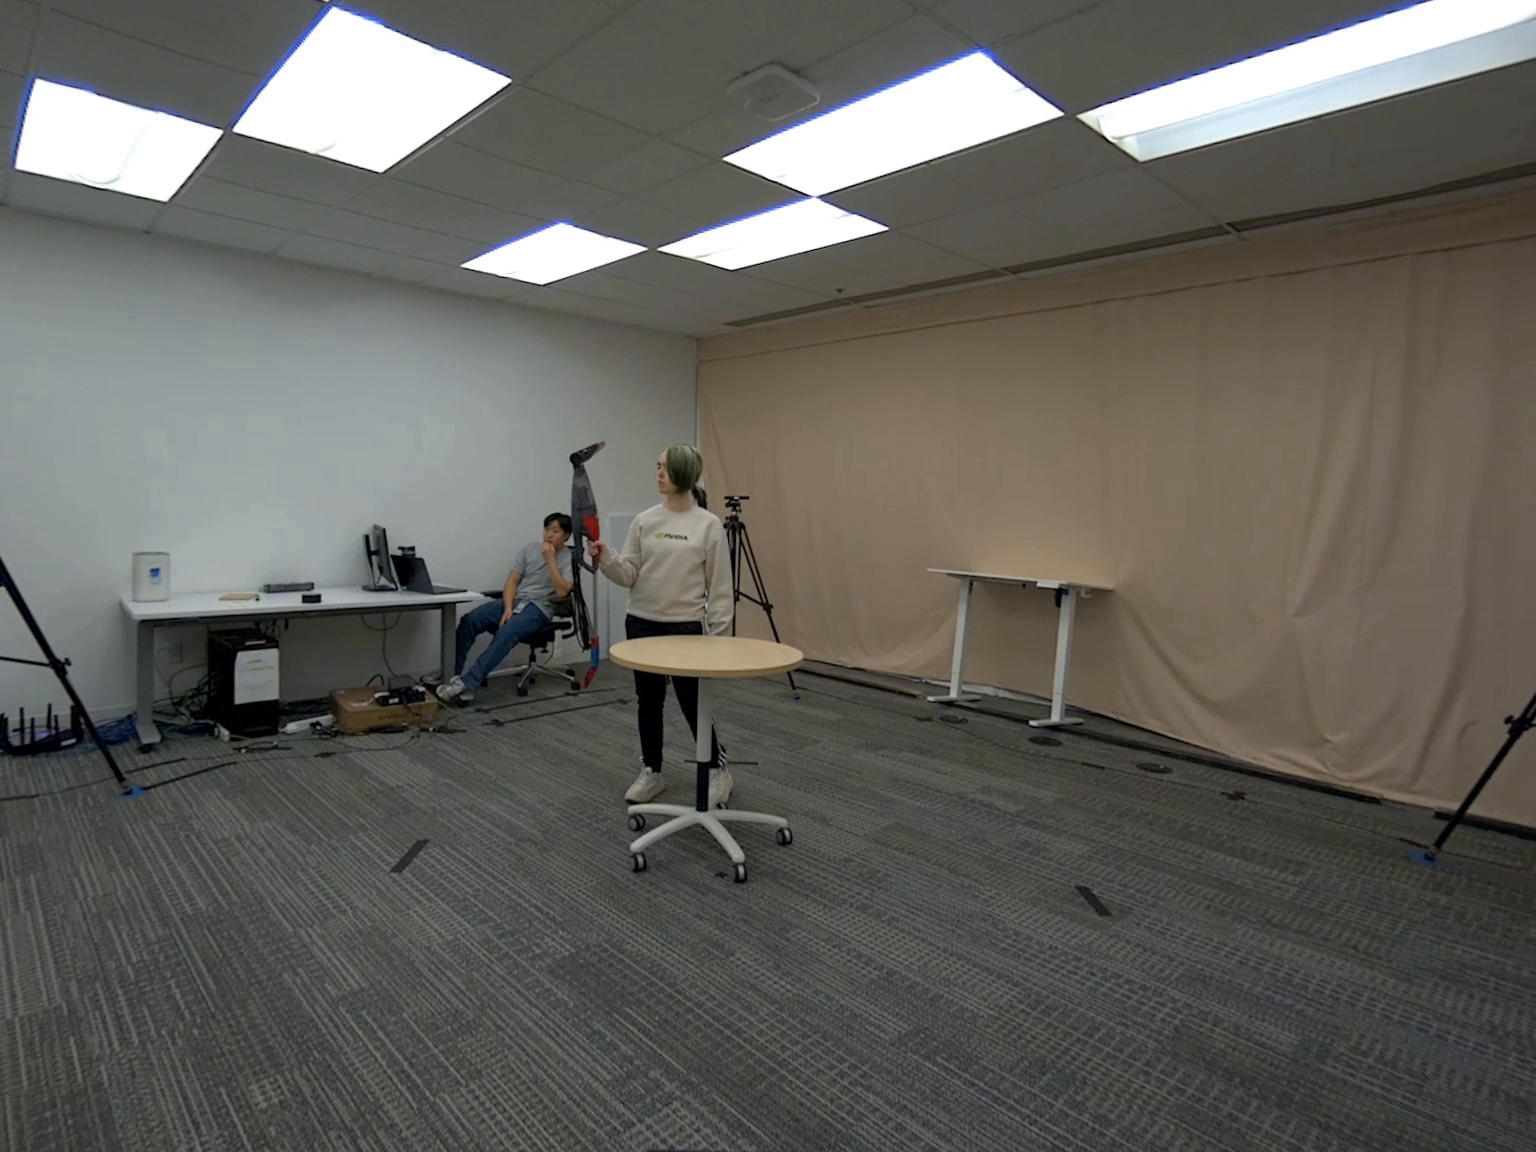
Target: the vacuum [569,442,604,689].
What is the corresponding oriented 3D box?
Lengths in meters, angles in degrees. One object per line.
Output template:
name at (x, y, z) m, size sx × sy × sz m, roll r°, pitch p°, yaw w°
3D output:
vacuum at (-0.809, -0.027, 3.659) m, size 0.143 × 1.043 × 0.255 m, roll 2°, pitch 8°, yaw -6°
